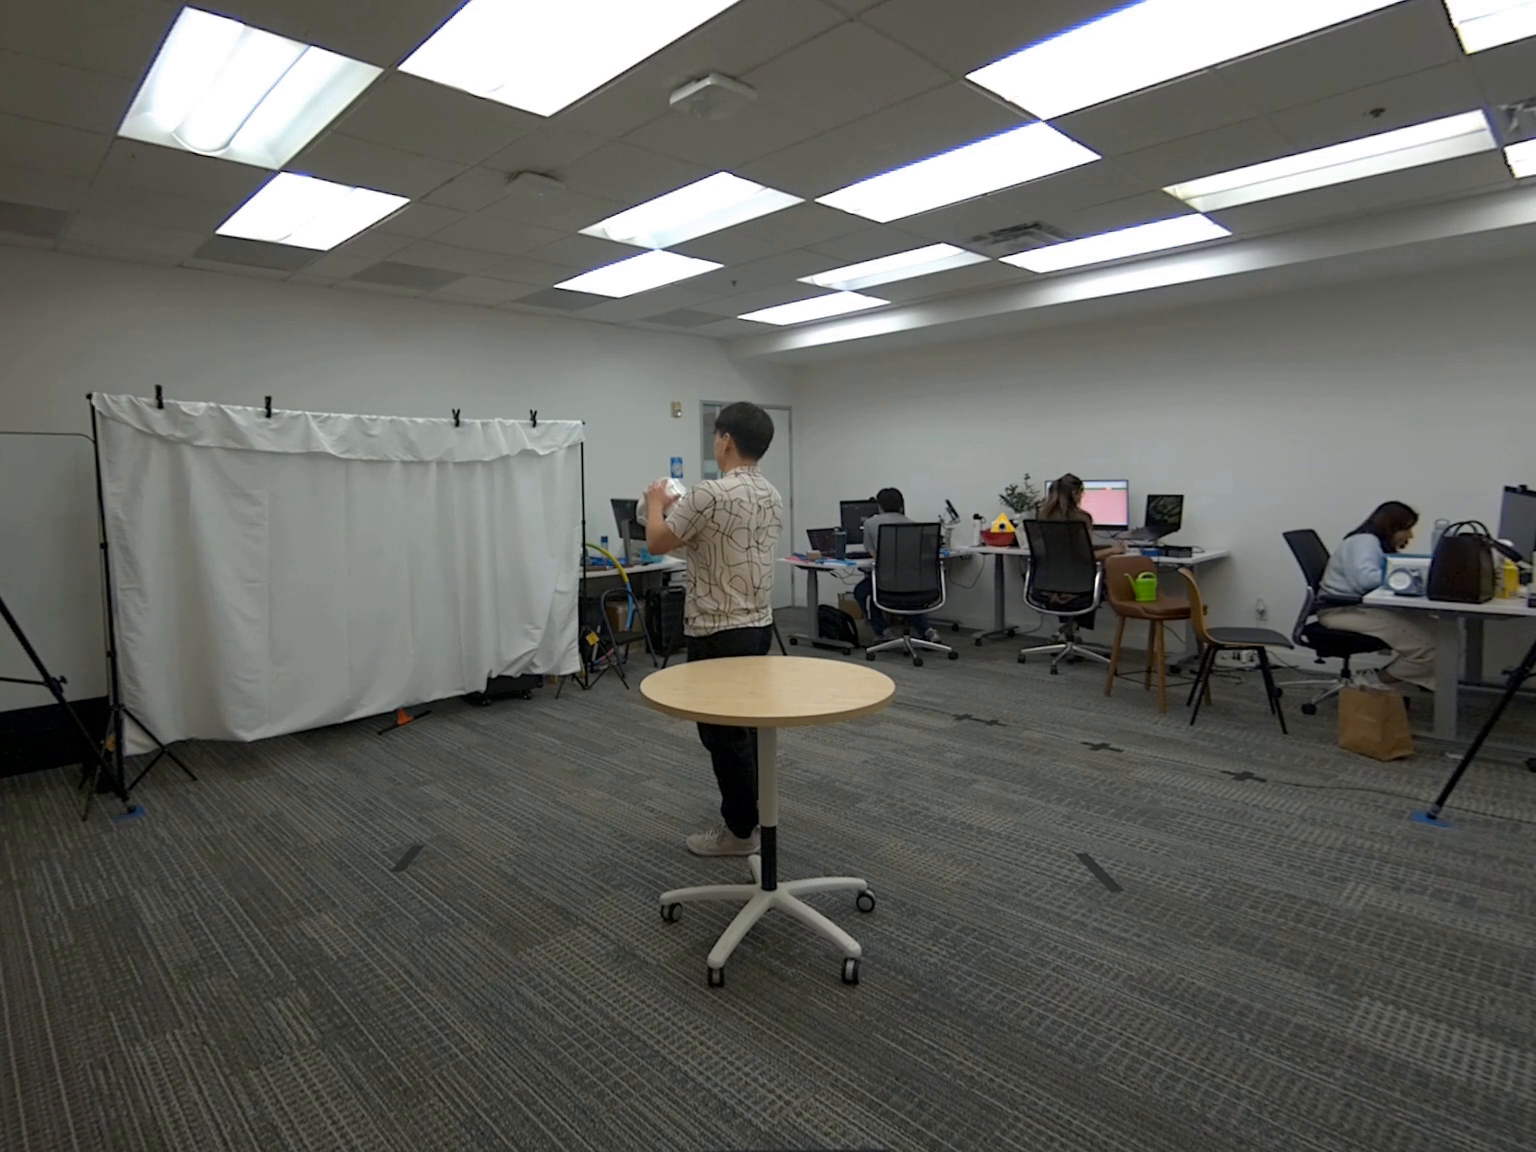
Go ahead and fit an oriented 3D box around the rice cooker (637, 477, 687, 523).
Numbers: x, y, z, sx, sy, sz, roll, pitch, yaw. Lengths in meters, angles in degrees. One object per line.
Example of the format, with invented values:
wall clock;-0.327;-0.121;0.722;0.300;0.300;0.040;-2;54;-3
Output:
rice cooker;-0.396;-0.266;3.404;0.221;0.233;0.217;-41;1;7
